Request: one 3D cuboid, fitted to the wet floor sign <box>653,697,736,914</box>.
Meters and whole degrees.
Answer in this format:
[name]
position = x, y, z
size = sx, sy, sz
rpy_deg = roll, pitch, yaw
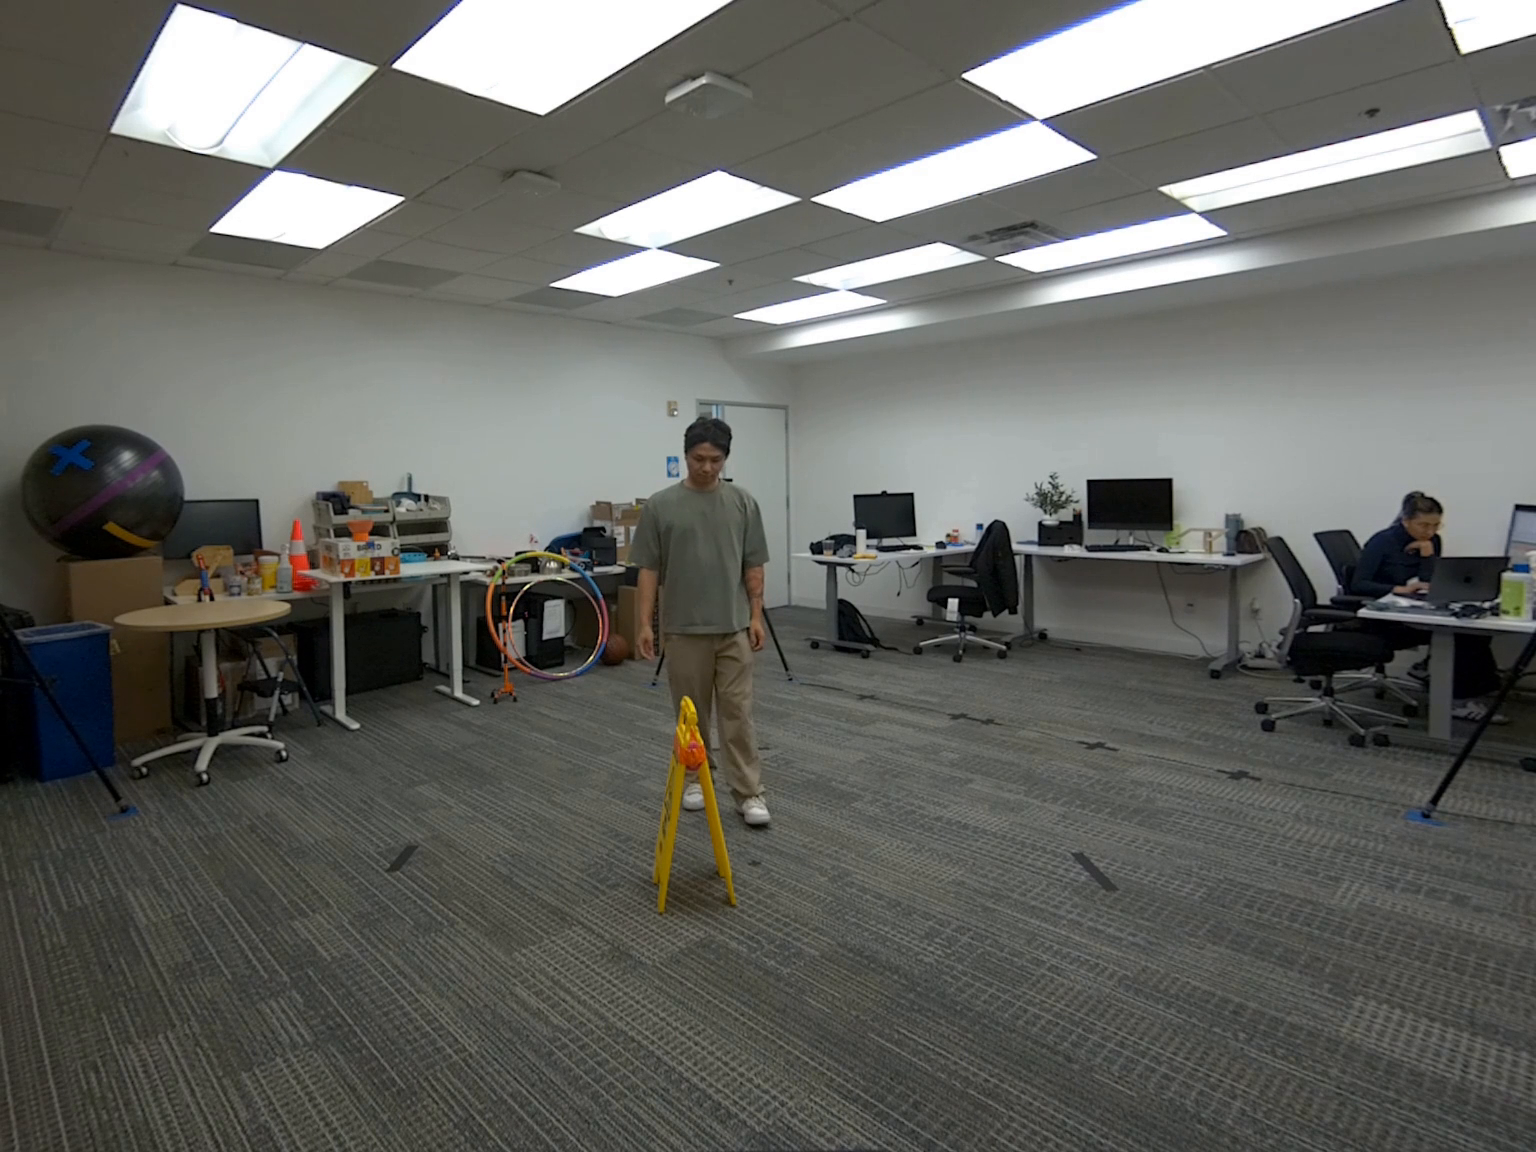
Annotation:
[wet floor sign]
position = -0.264, 0.750, 2.885
size = 0.287, 0.644, 0.286
rpy_deg = -2, 4, -11
